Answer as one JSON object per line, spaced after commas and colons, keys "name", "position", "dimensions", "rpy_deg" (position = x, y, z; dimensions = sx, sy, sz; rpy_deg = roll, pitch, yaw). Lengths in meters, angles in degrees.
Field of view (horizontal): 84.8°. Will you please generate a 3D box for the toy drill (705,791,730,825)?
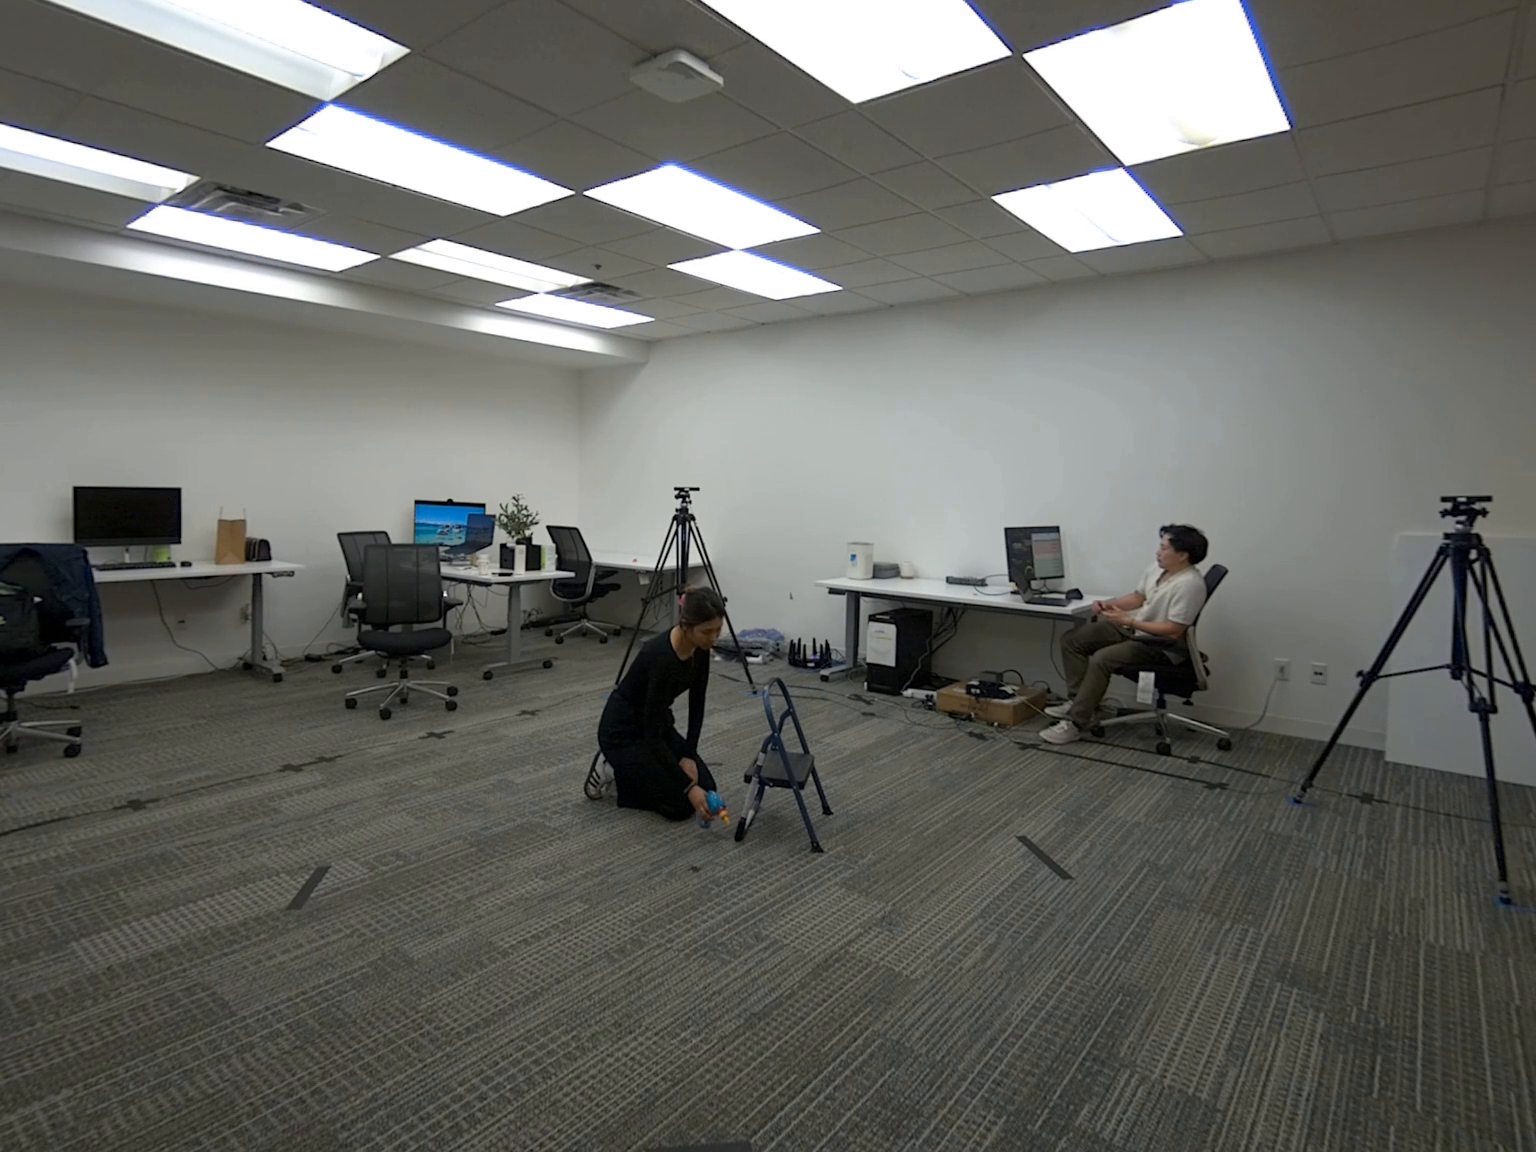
{"name": "toy drill", "position": [-0.198, 0.945, 3.355], "dimensions": [0.059, 0.145, 0.177], "rpy_deg": [1, 34, -46]}
